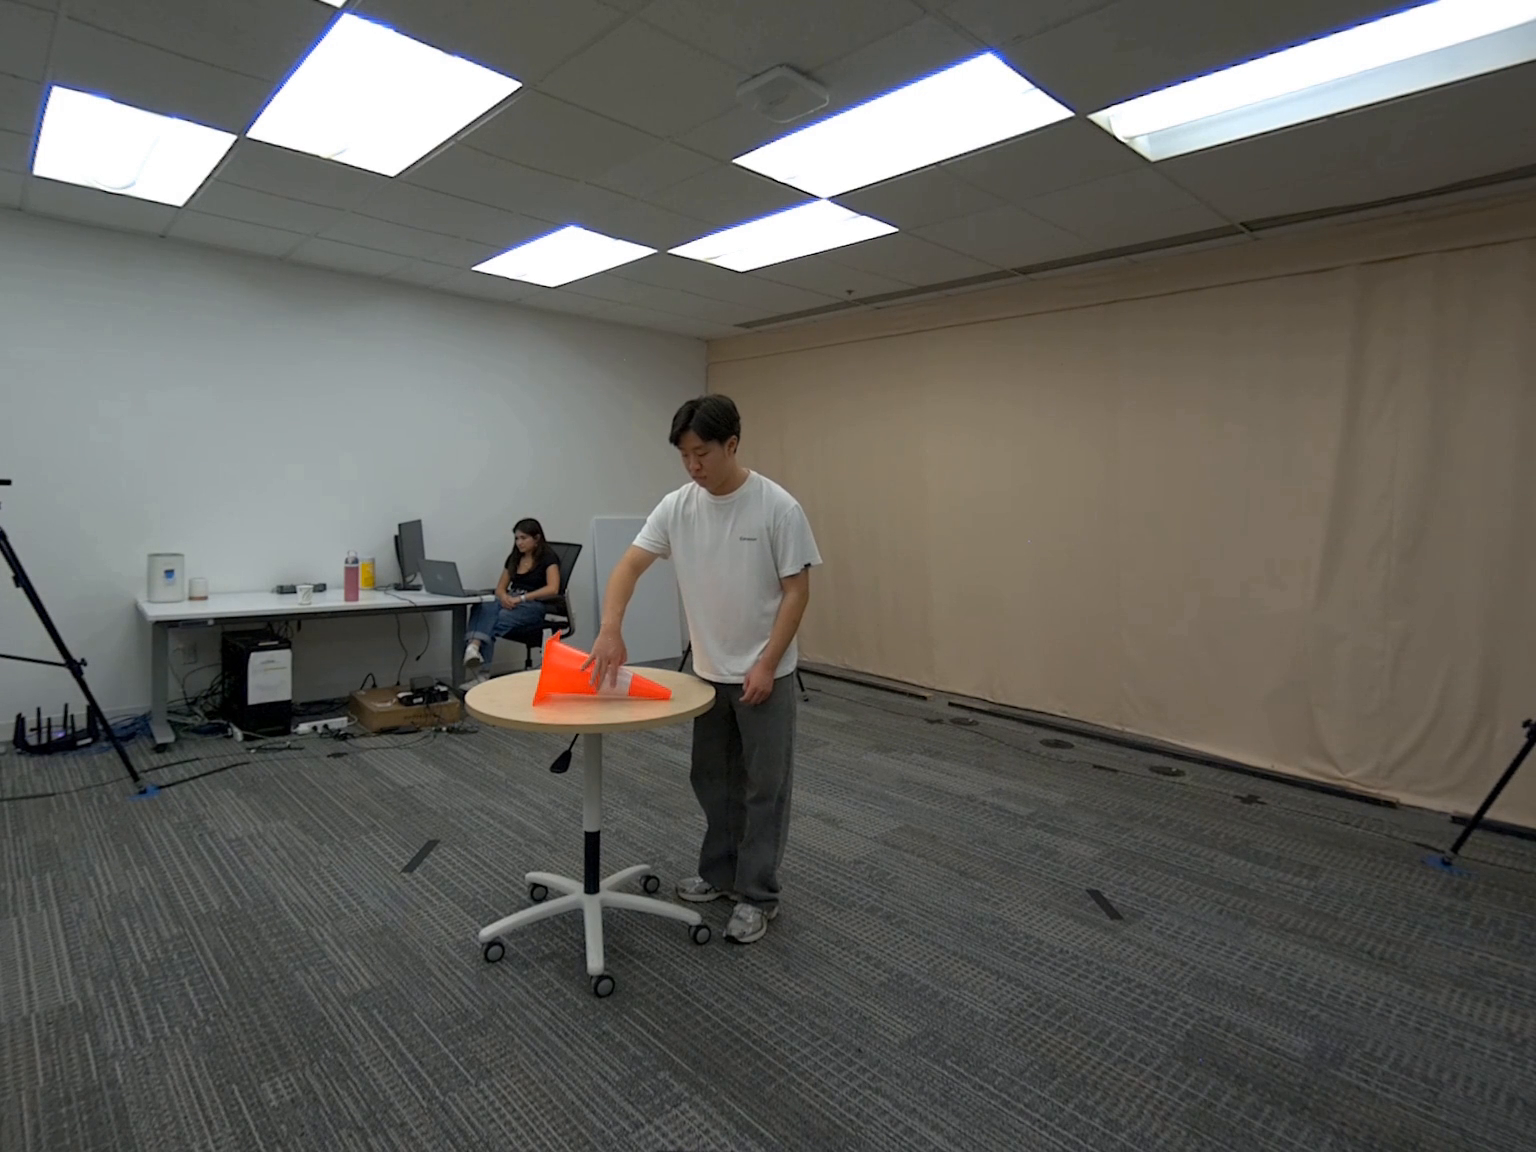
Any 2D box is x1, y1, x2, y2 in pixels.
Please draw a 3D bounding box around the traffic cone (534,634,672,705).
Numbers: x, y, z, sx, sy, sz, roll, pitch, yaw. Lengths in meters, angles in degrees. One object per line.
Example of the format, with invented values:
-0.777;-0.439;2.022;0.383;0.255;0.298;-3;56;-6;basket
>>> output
-0.478;0.319;2.521;0.383;0.204;0.204;14;4;-1;traffic cone
